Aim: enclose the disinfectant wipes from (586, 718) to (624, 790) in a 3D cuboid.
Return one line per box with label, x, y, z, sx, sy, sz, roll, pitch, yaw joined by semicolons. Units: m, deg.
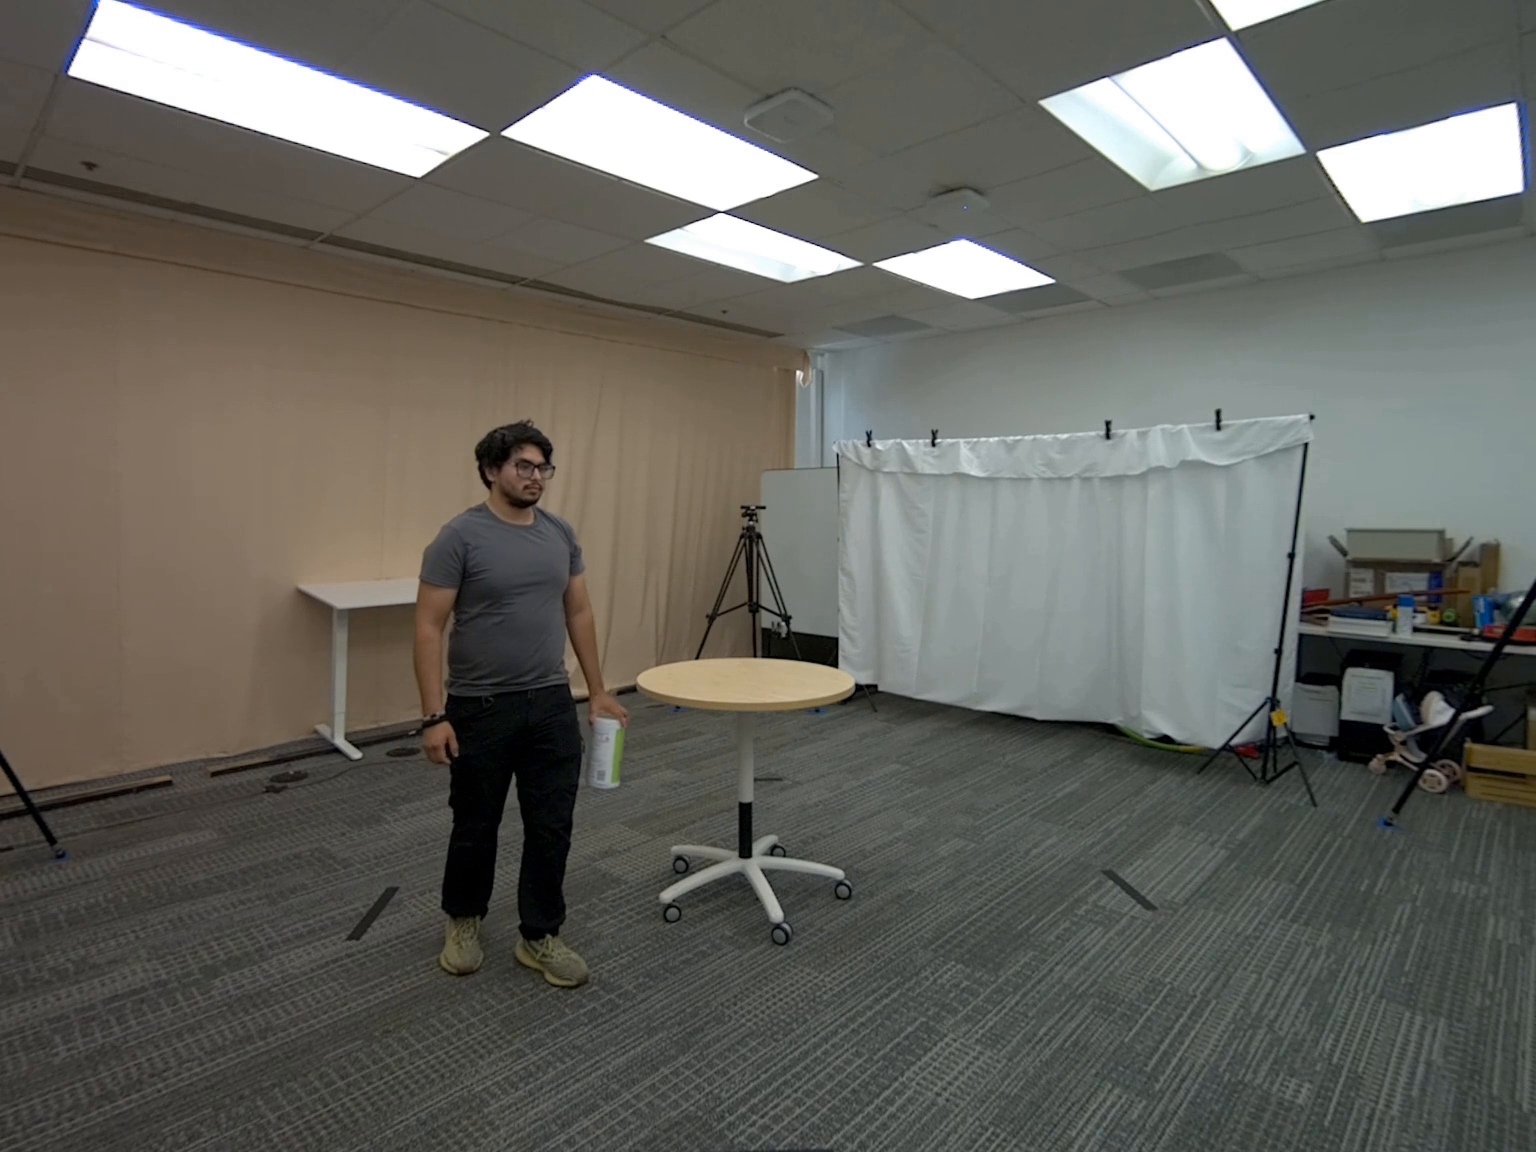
disinfectant wipes;-0.515;0.555;2.632;0.118;0.217;0.118;5;0;-2
